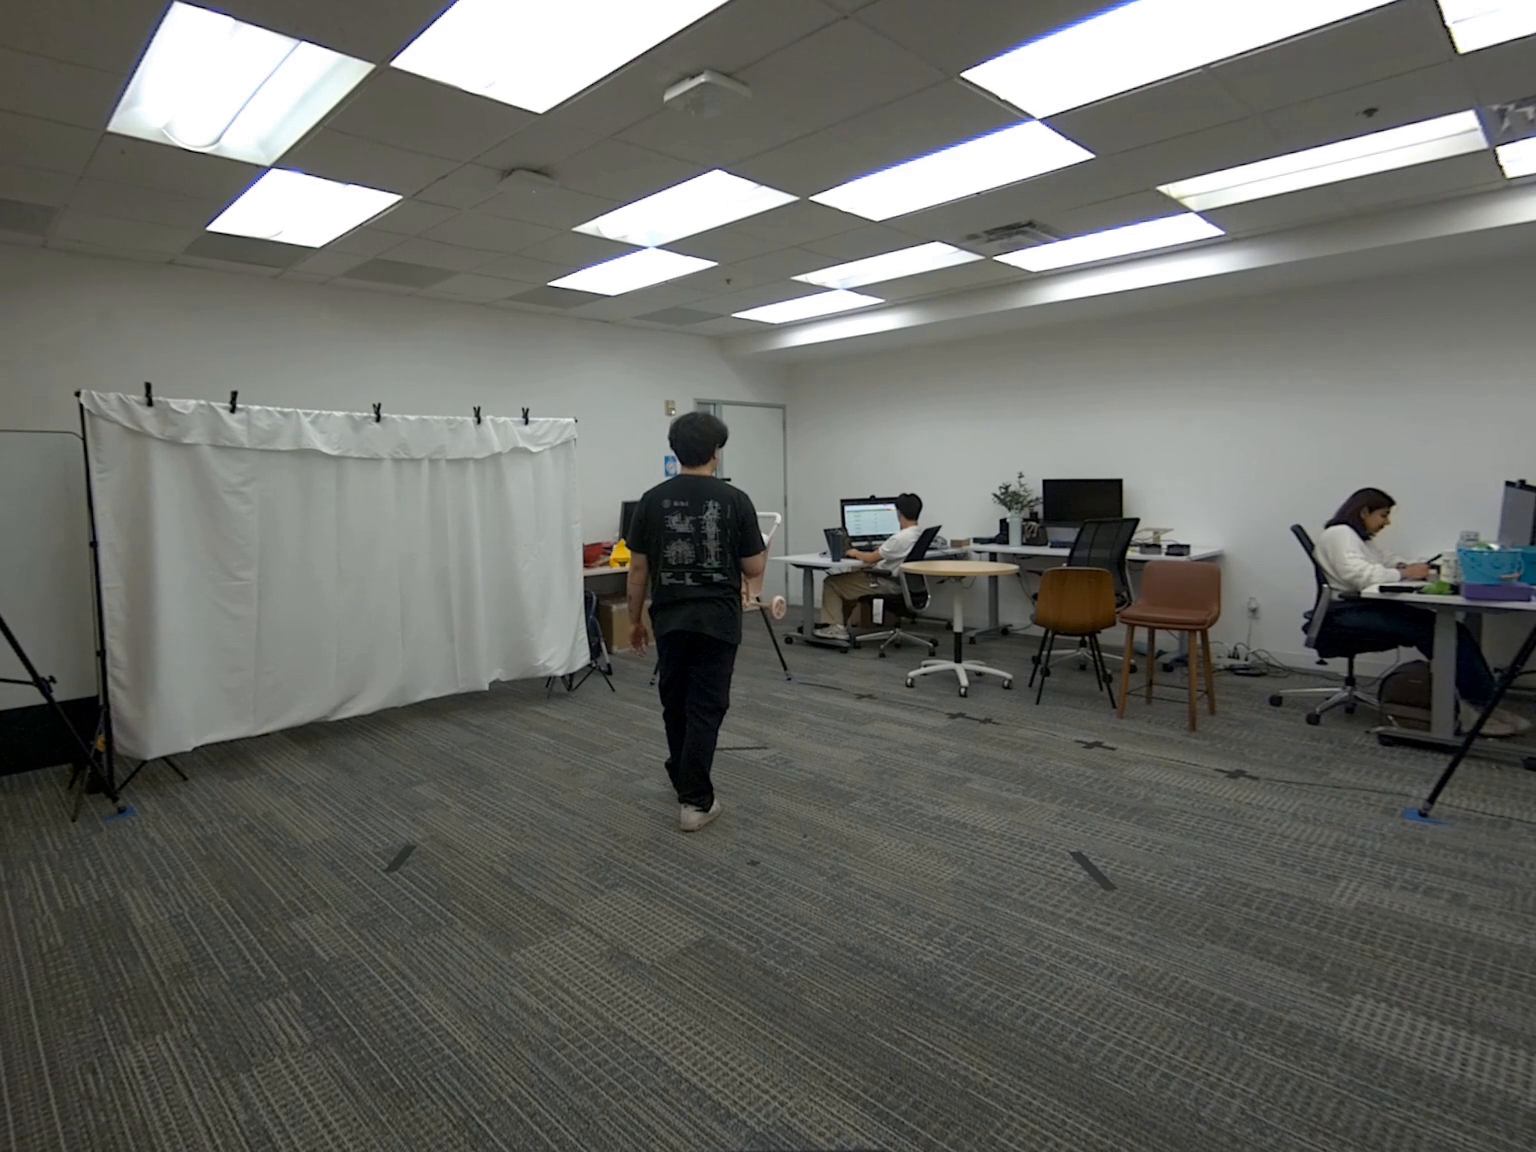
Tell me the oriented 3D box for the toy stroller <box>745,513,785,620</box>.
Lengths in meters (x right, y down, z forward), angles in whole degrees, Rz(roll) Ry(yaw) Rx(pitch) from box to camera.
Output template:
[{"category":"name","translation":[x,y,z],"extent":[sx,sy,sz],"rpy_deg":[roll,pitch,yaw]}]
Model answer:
[{"category":"toy stroller","translation":[-0.119,-0.013,3.845],"extent":[0.332,0.533,0.290],"rpy_deg":[-4,7,-44]}]
